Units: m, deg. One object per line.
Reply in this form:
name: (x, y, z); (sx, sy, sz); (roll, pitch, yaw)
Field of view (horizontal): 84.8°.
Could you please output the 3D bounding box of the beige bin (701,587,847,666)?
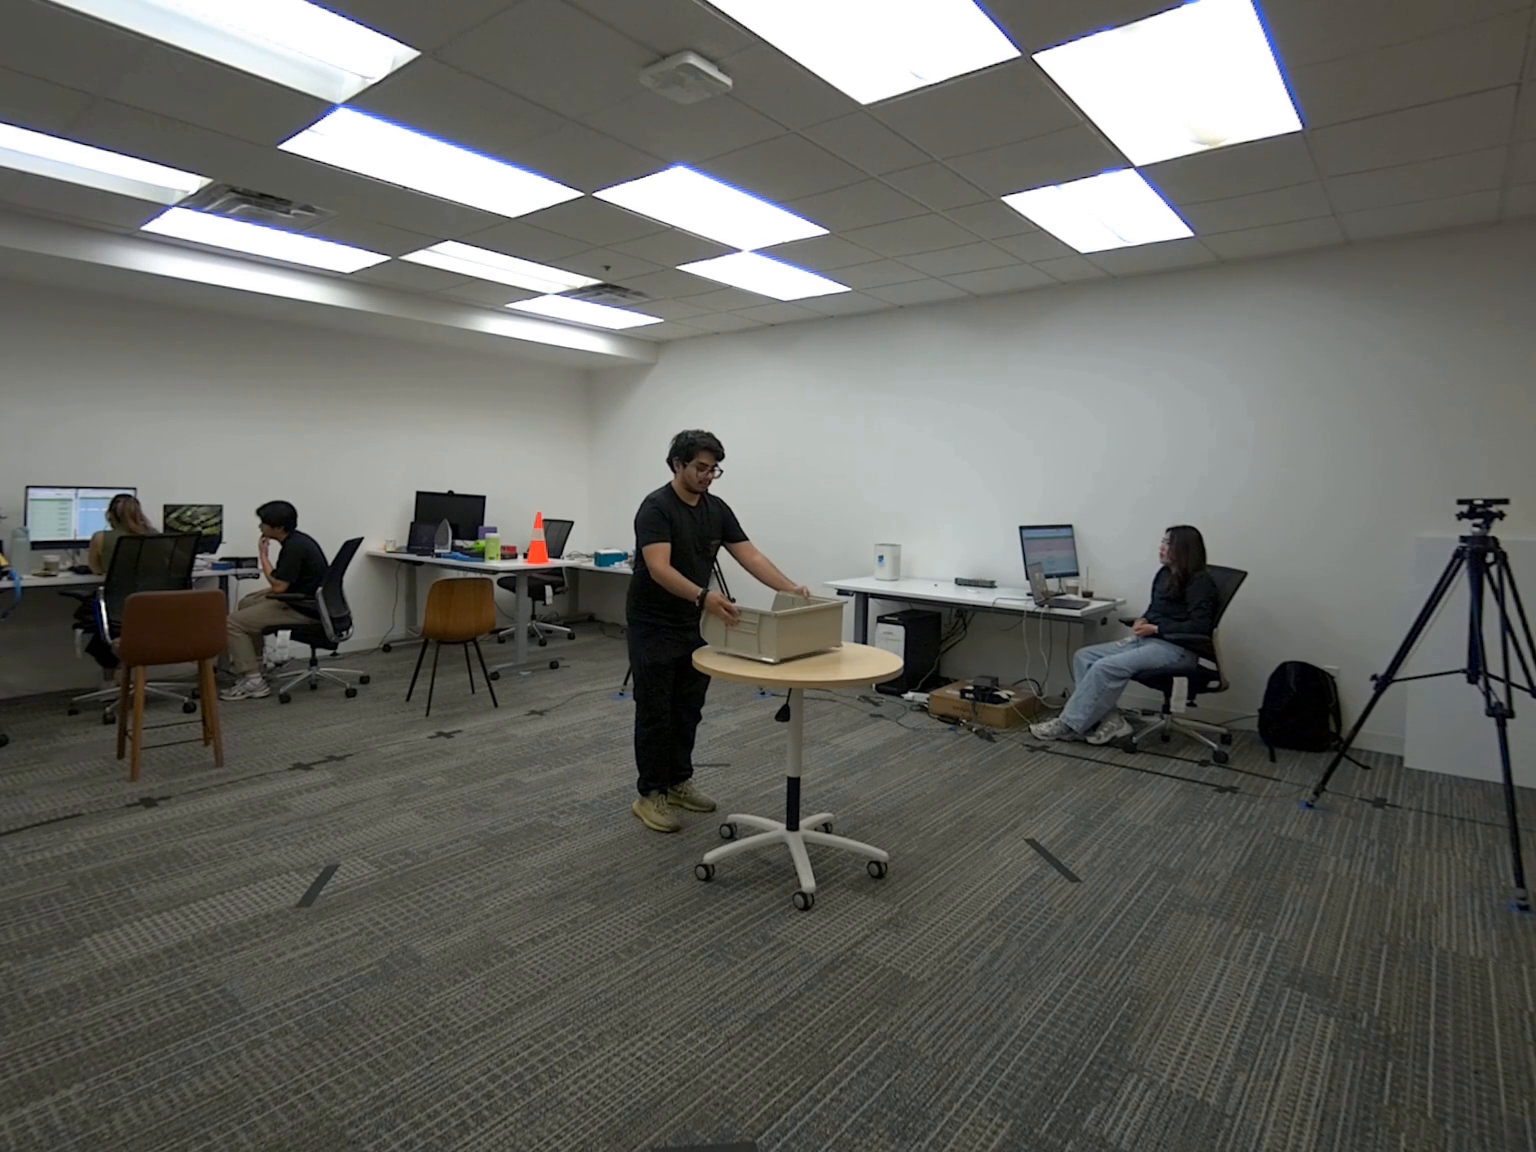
beige bin: (0.013, 0.177, 3.197); (0.391, 0.188, 0.410); (9, 10, 42)
